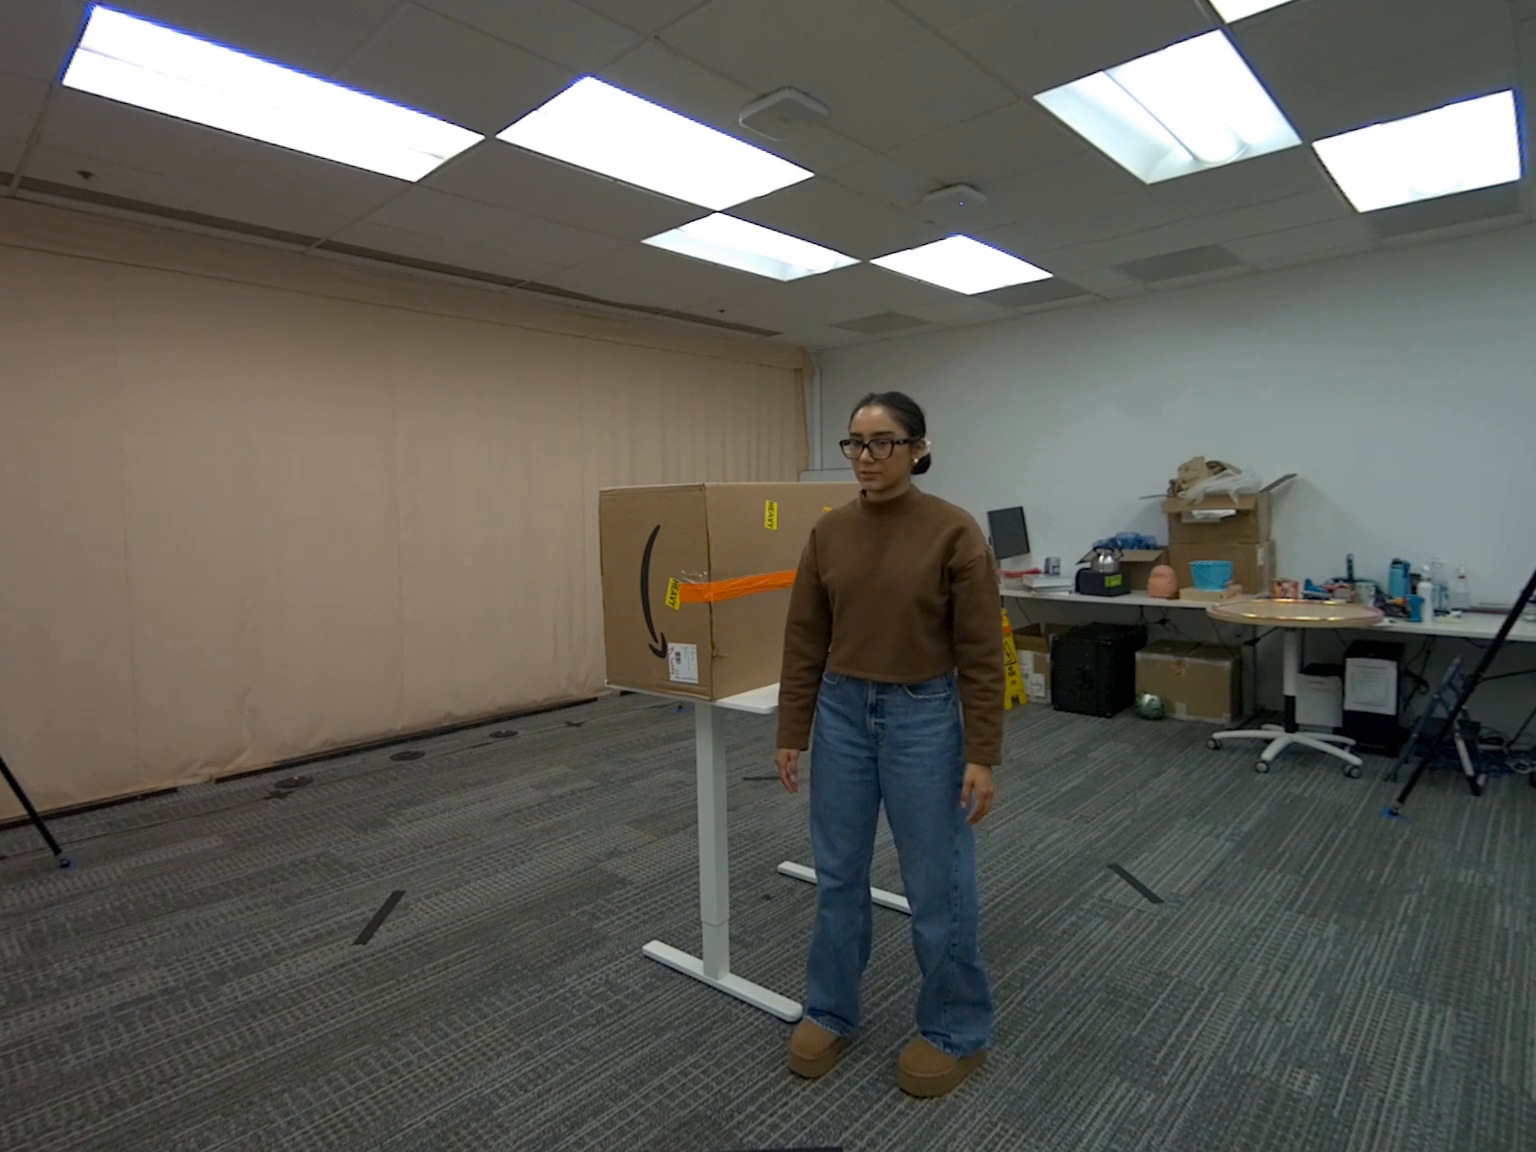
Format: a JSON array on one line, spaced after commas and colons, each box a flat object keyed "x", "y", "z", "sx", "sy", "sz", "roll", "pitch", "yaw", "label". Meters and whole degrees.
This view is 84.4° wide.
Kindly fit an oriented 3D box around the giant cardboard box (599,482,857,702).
[{"x": 0.000, "y": -0.001, "z": 2.697, "sx": 0.440, "sy": 0.576, "sz": 0.995, "roll": 0, "pitch": 5, "yaw": 40, "label": "giant cardboard box"}]
